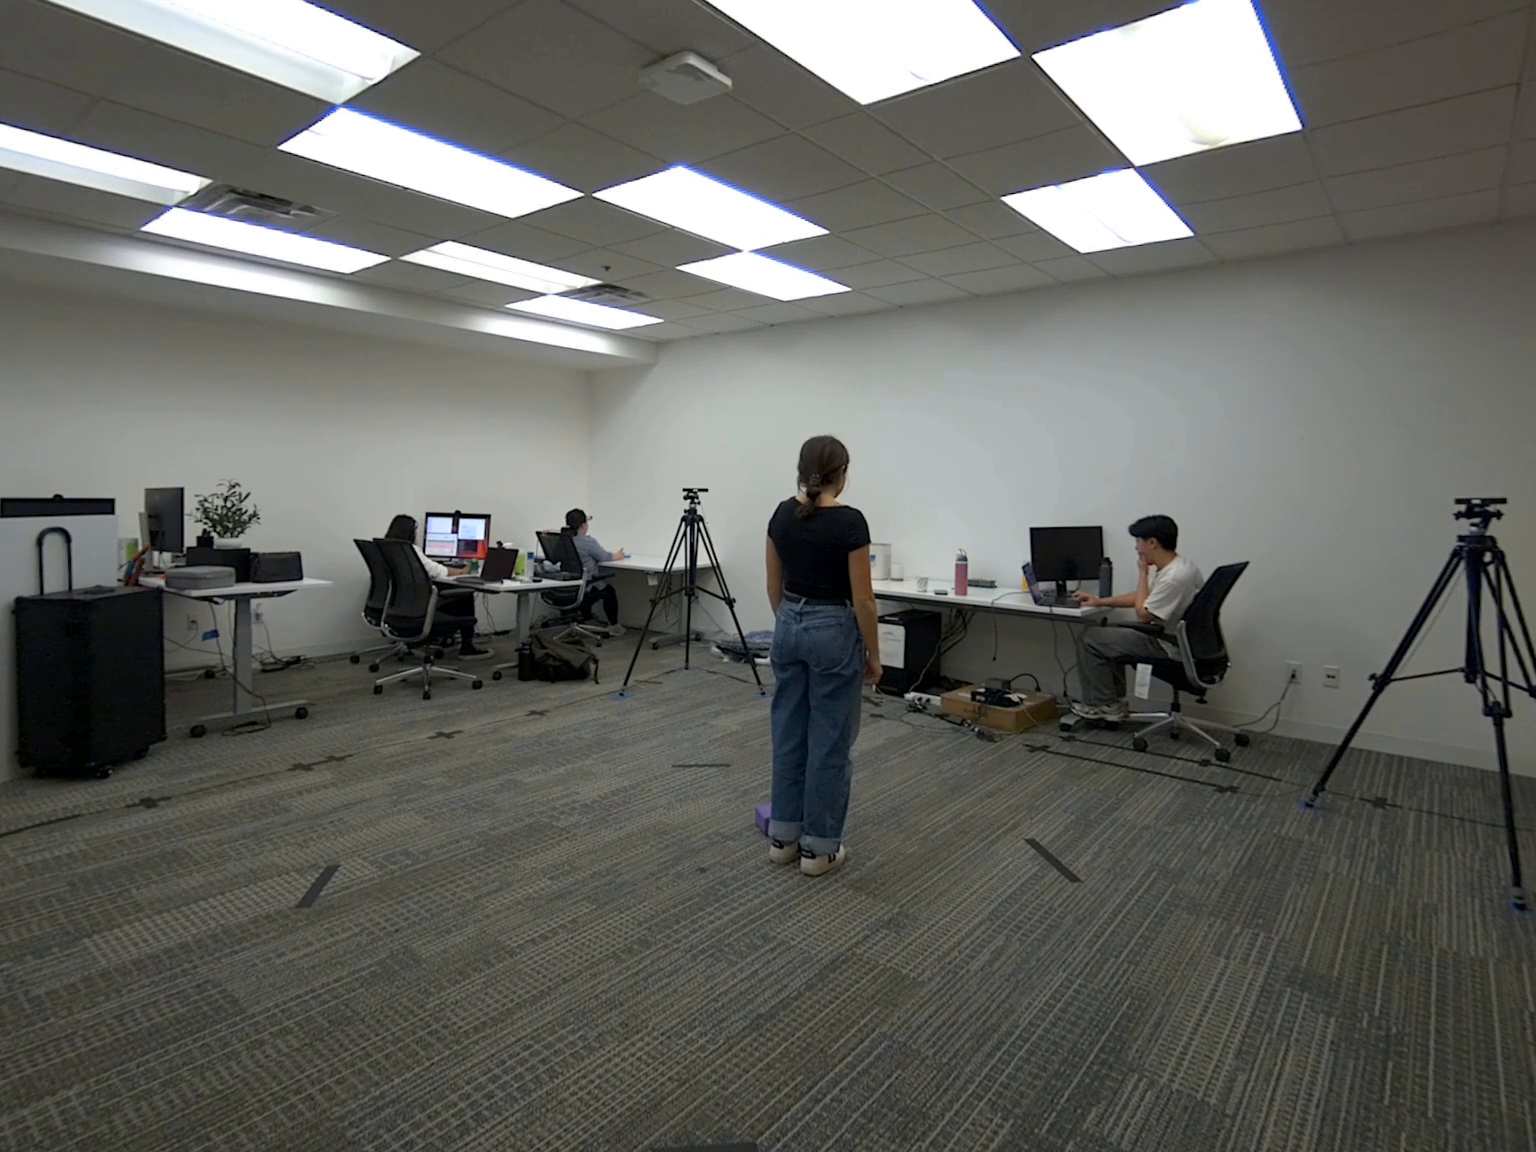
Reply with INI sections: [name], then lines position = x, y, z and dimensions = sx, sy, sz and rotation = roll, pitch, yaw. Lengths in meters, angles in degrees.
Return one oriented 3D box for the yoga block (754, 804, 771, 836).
[yoga block]
position = 0.085, 0.983, 3.511
dimensions = 0.226, 0.076, 0.152
rotation = -2, 6, -14
